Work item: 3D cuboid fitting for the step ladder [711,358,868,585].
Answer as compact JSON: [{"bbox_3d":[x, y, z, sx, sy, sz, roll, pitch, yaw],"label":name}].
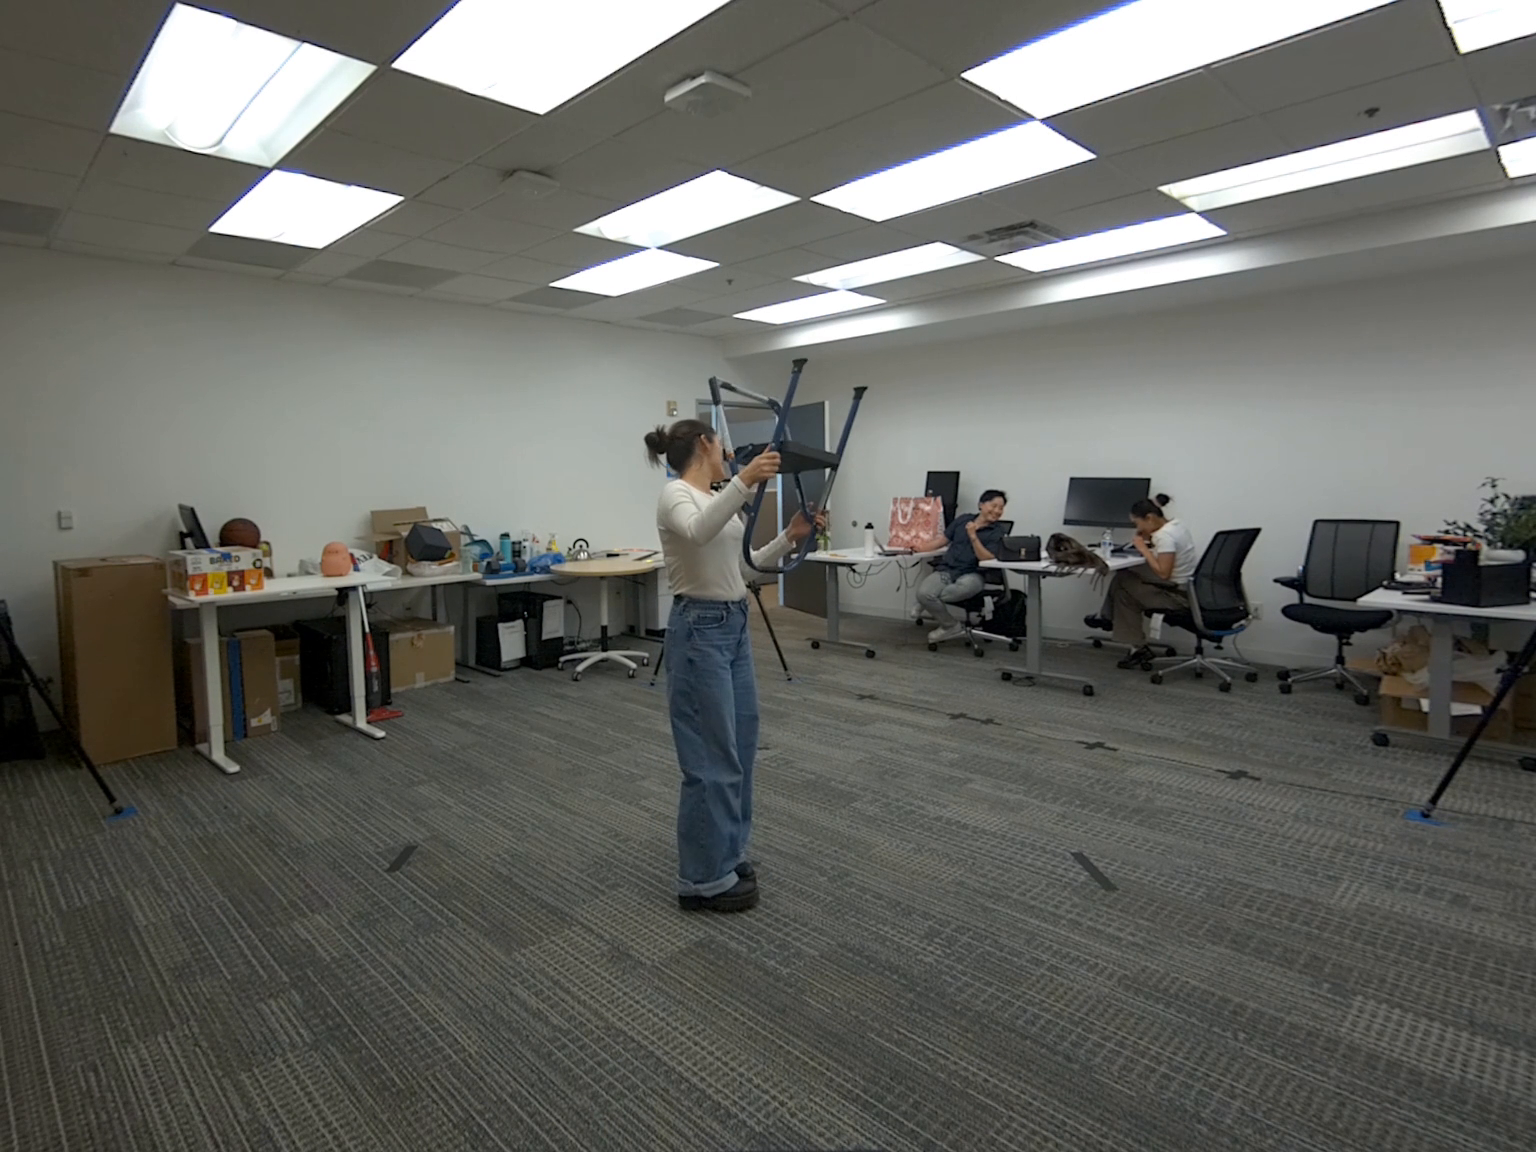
[{"bbox_3d":[0.075,-0.311,2.694,0.358,0.609,0.418,-3,-5,34],"label":"step ladder"}]
